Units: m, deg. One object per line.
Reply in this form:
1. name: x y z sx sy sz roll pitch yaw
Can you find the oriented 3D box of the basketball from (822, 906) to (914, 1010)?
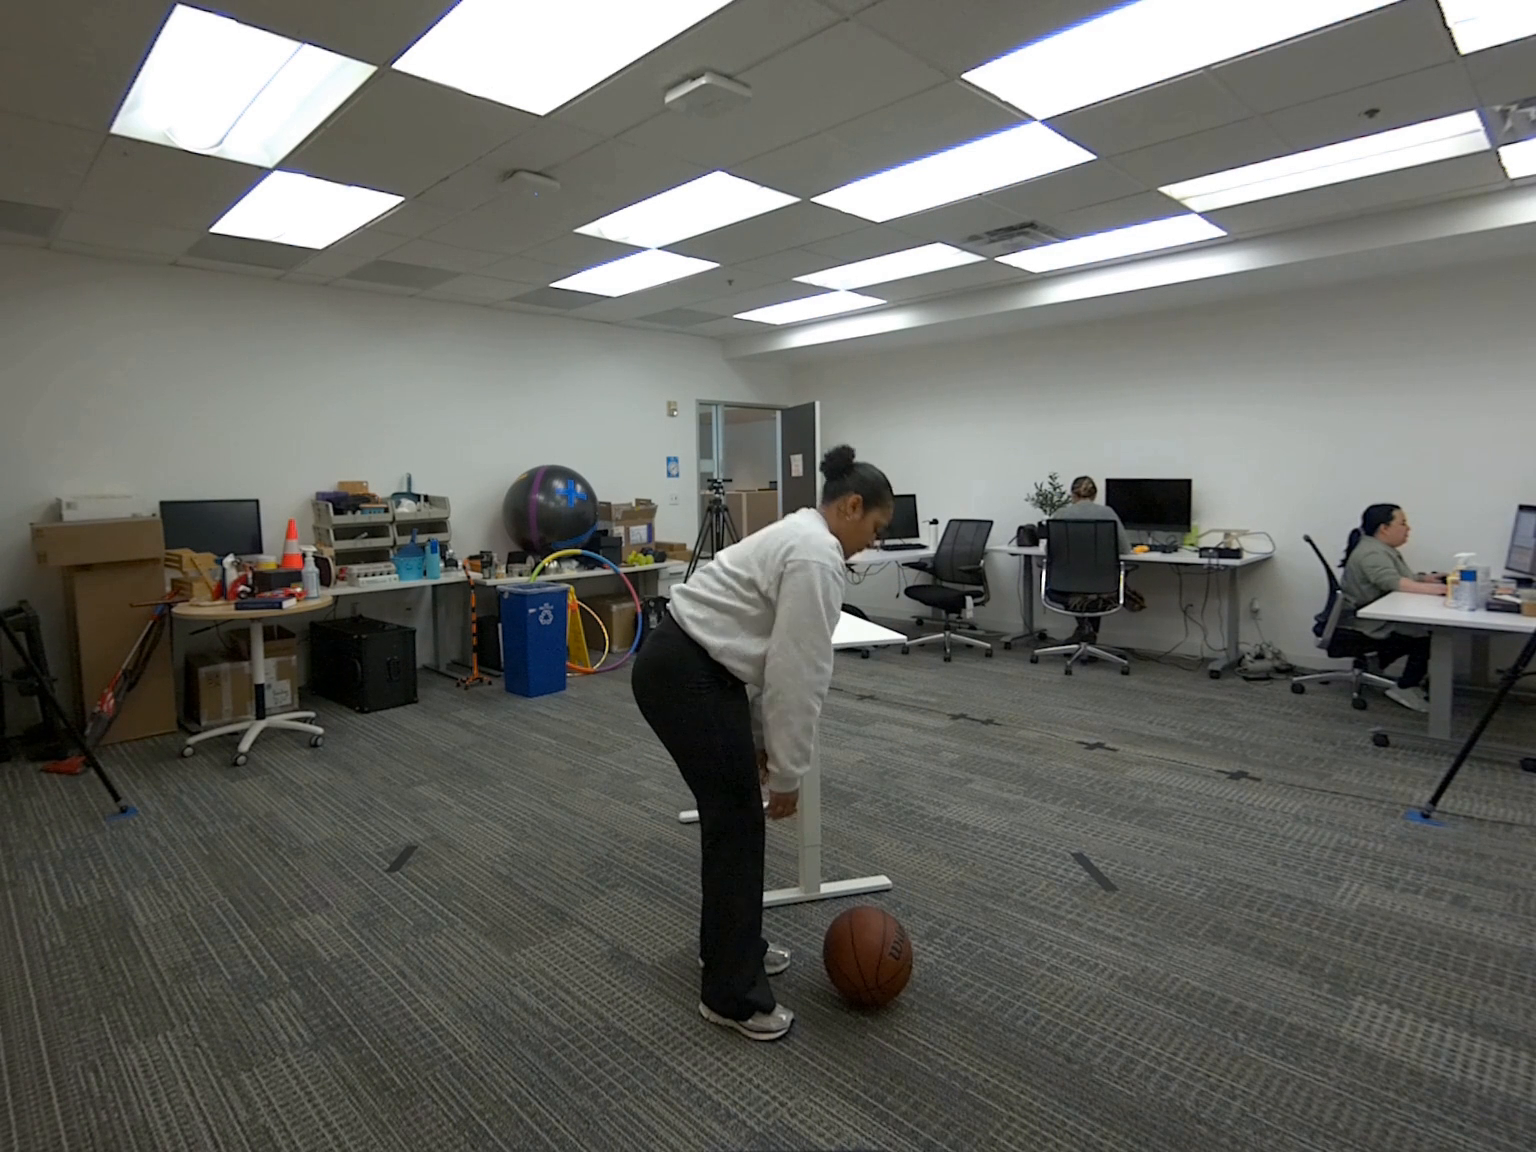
1. basketball: 0.269 1.007 2.288 0.236 0.235 0.237 -1 5 -2
